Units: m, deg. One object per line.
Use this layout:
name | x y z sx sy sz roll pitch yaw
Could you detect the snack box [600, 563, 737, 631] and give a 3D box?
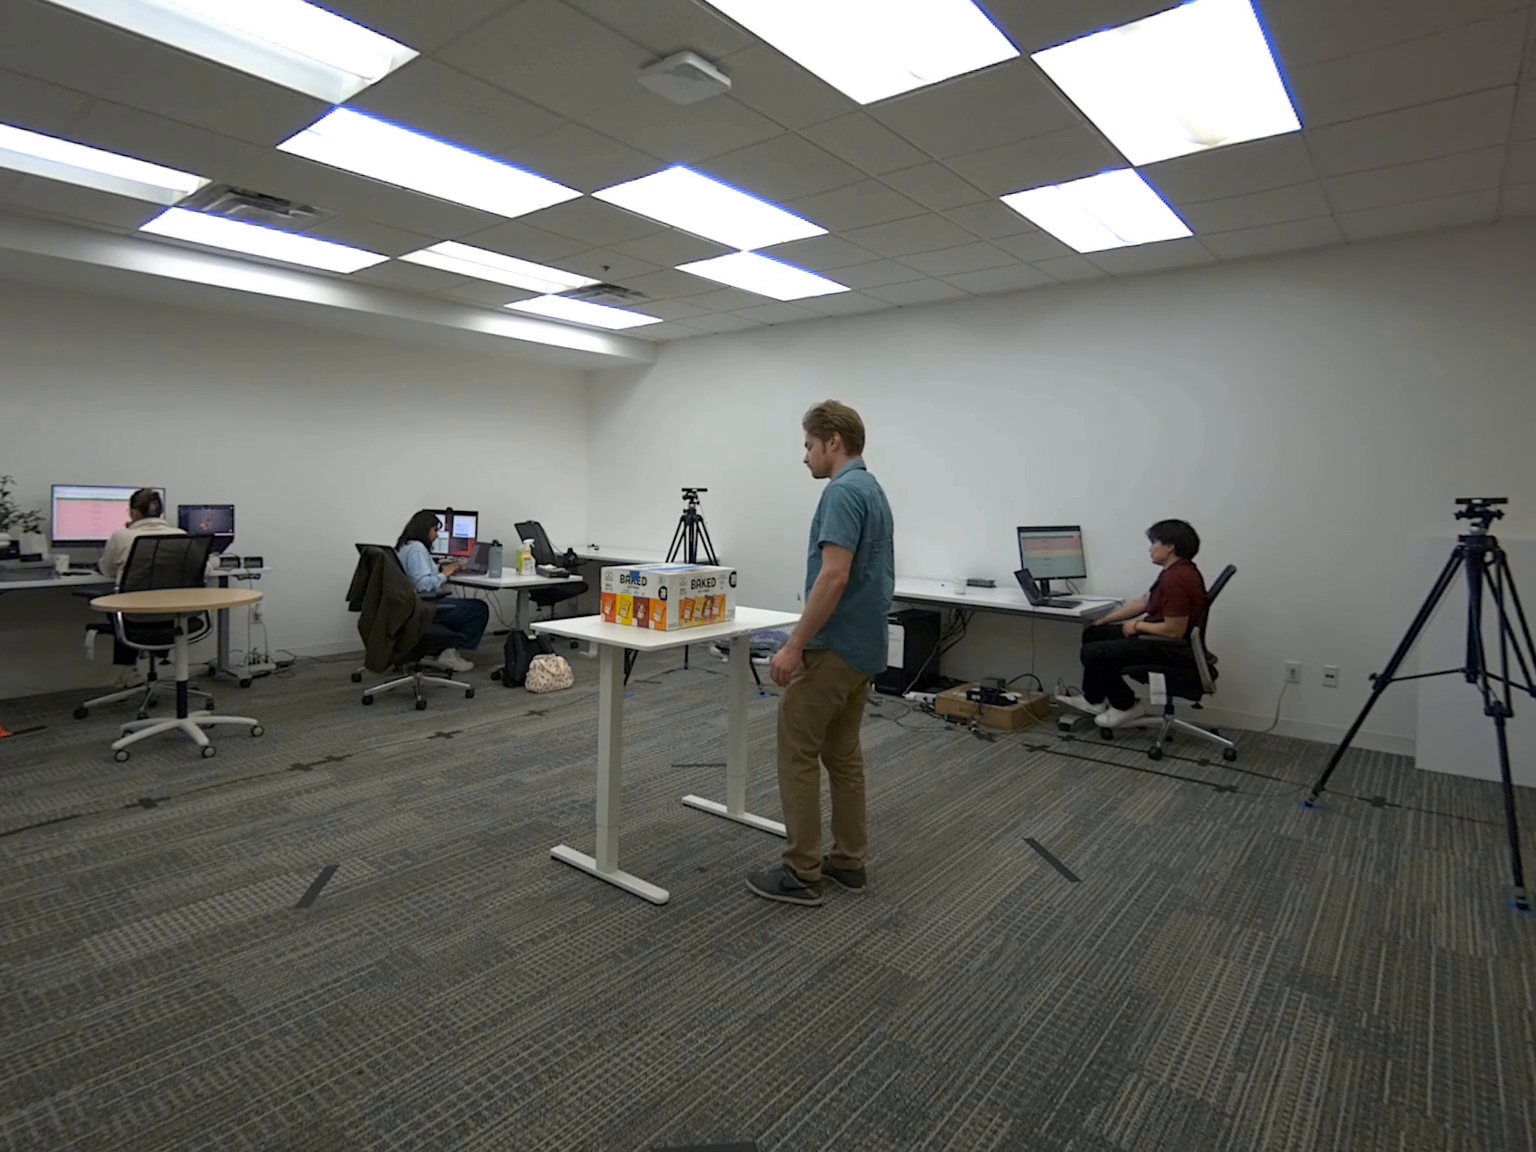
snack box | -0.387 0.068 3.254 0.351 0.205 0.393 5 6 36
